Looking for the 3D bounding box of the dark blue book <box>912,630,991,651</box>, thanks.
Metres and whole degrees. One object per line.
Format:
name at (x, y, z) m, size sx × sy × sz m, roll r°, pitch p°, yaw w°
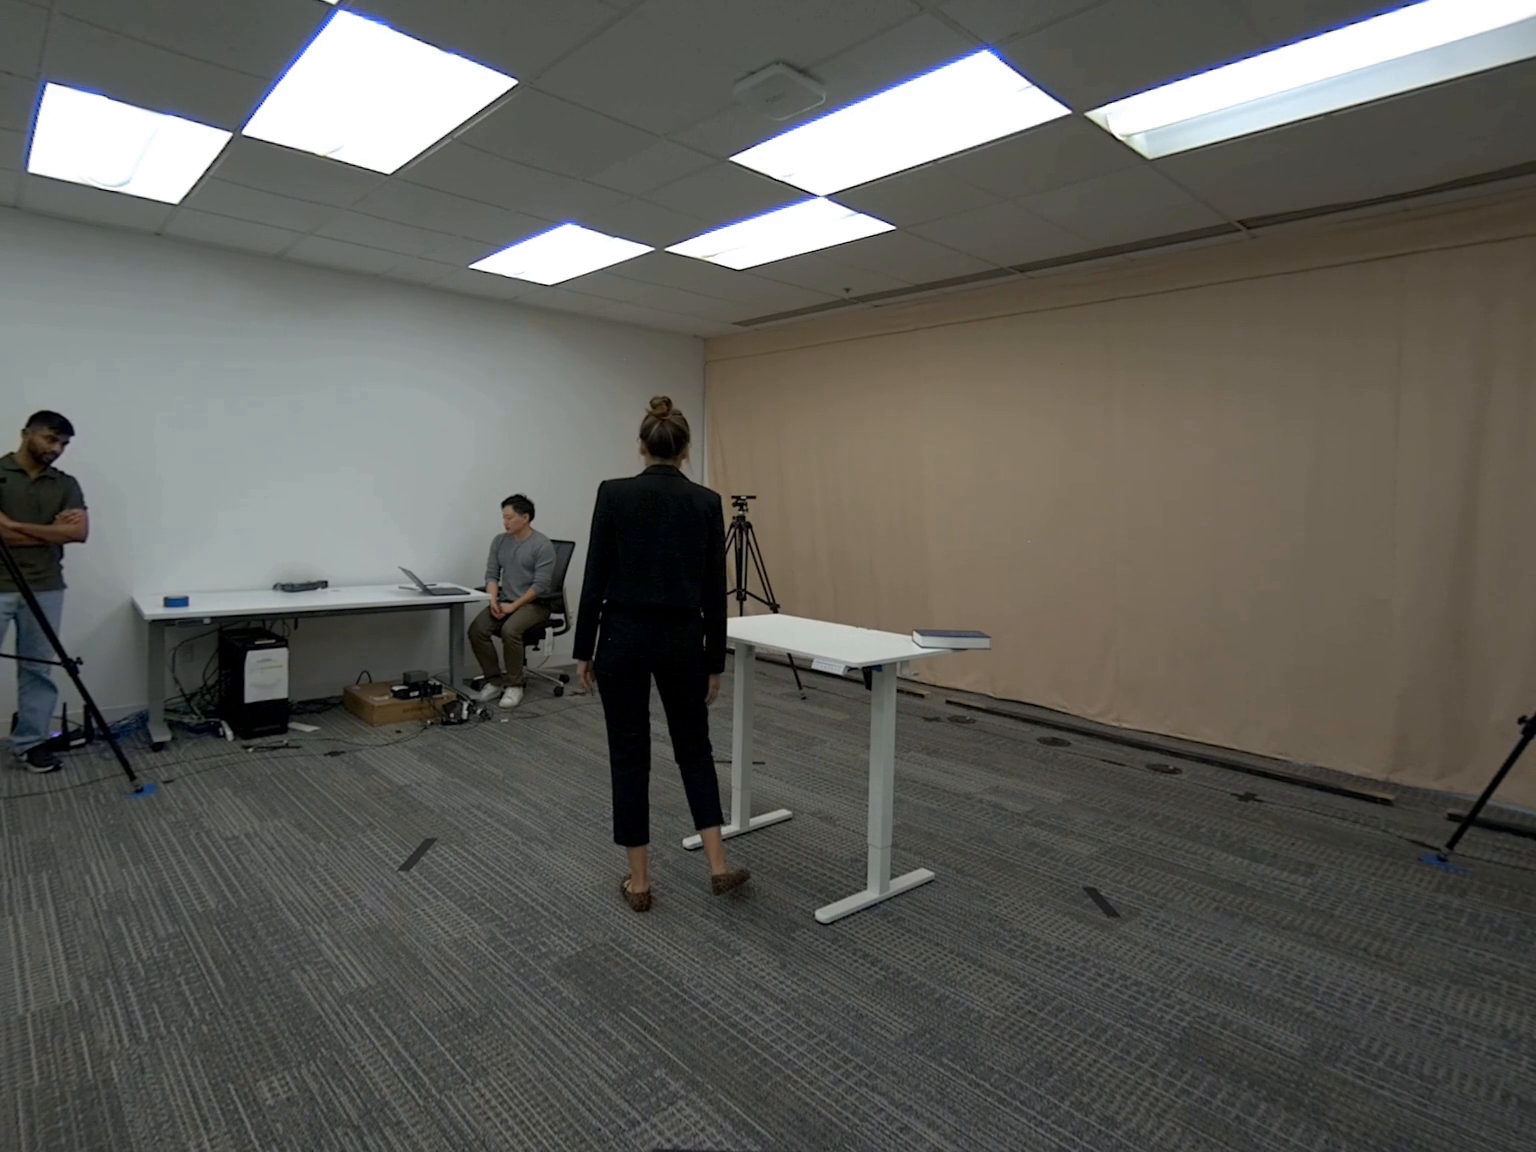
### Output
dark blue book at (0.648, 0.224, 3.000) m, size 0.245 × 0.045 × 0.164 m, roll 2°, pitch 5°, yaw 1°
